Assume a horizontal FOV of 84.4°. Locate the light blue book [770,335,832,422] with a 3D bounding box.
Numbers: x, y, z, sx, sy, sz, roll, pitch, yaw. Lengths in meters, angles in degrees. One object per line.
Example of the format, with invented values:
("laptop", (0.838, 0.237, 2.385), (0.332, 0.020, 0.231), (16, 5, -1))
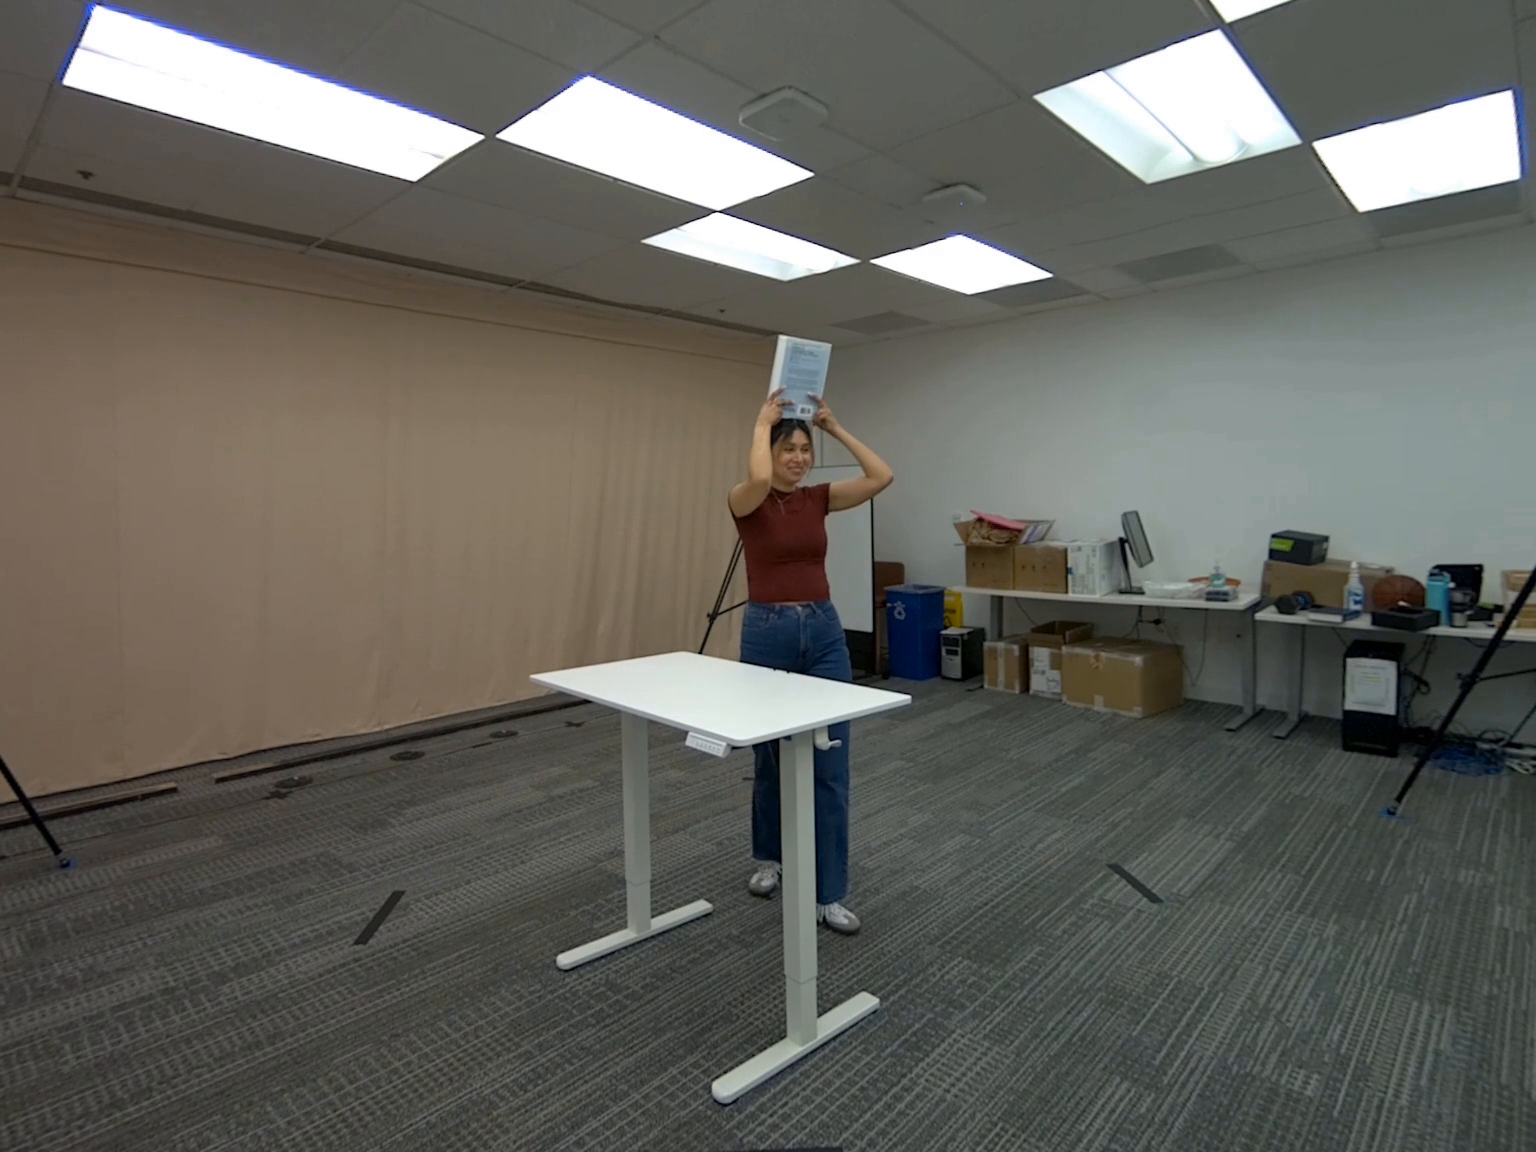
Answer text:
("light blue book", (0.105, -0.666, 2.845), (0.186, 0.259, 0.061), (1, 17, -34))
